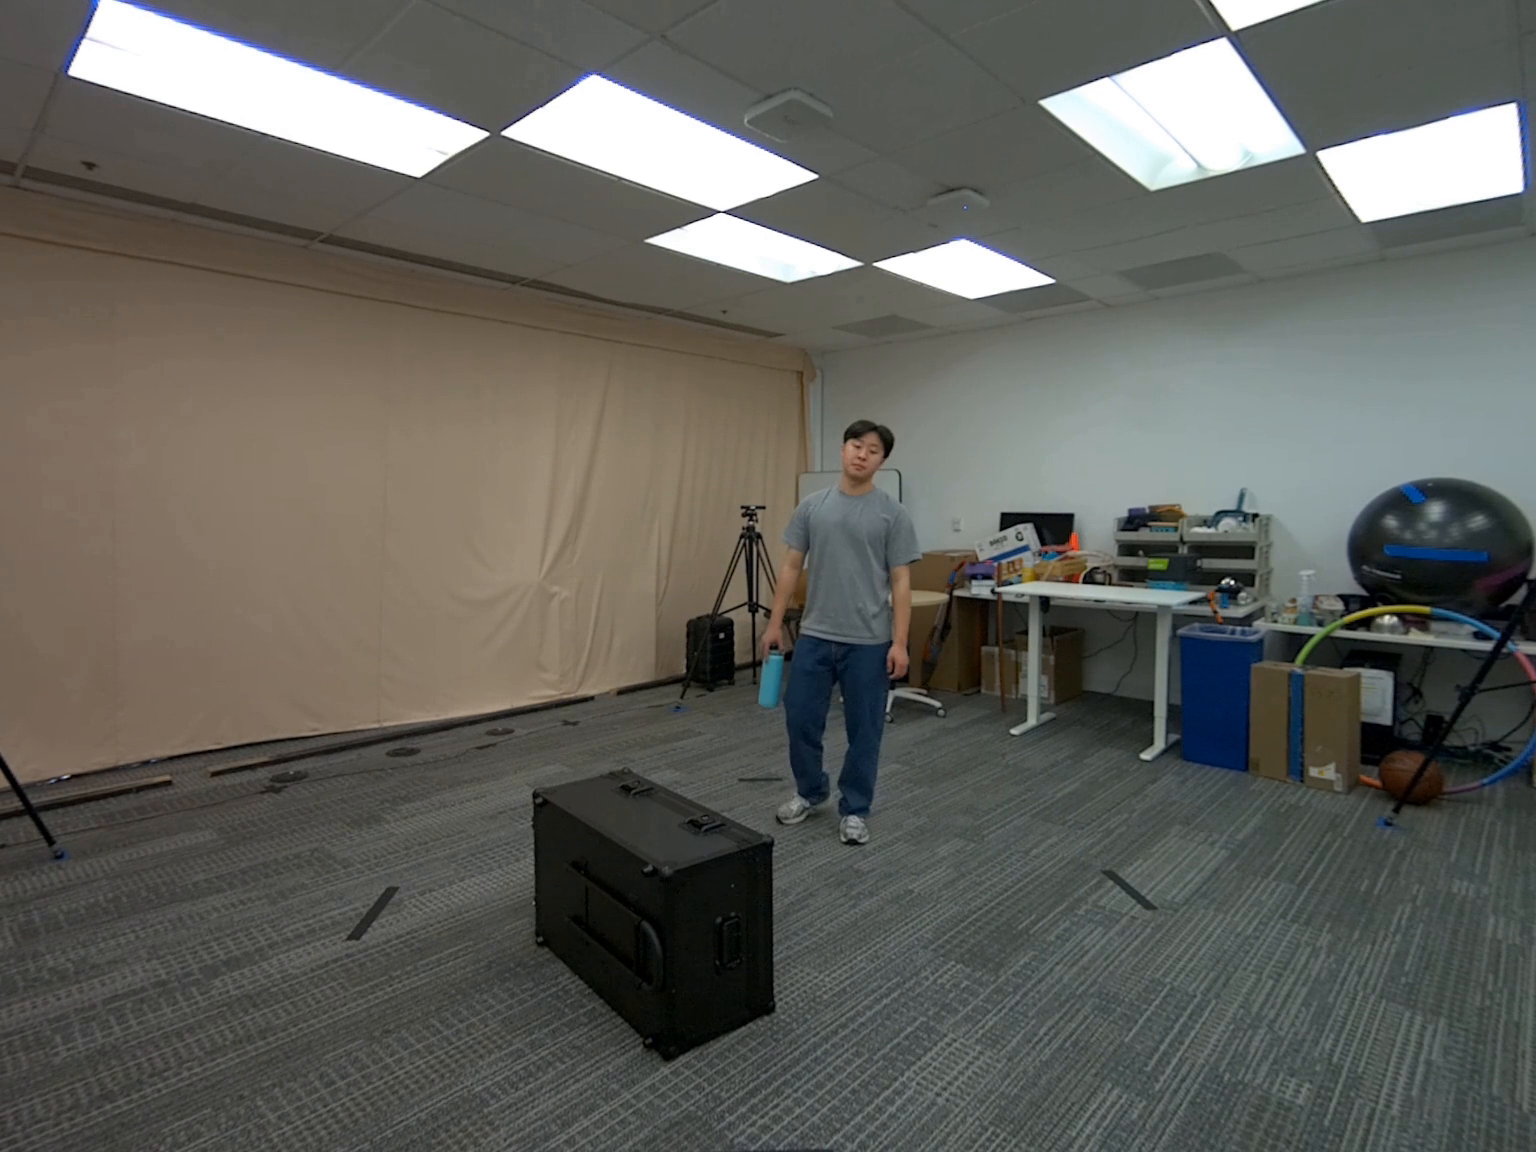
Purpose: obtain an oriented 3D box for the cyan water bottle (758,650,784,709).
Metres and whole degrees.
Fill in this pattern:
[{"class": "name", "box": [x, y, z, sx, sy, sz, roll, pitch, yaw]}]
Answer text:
[{"class": "cyan water bottle", "box": [0.037, 0.419, 3.624, 0.092, 0.282, 0.093, 4, 7, -2]}]
